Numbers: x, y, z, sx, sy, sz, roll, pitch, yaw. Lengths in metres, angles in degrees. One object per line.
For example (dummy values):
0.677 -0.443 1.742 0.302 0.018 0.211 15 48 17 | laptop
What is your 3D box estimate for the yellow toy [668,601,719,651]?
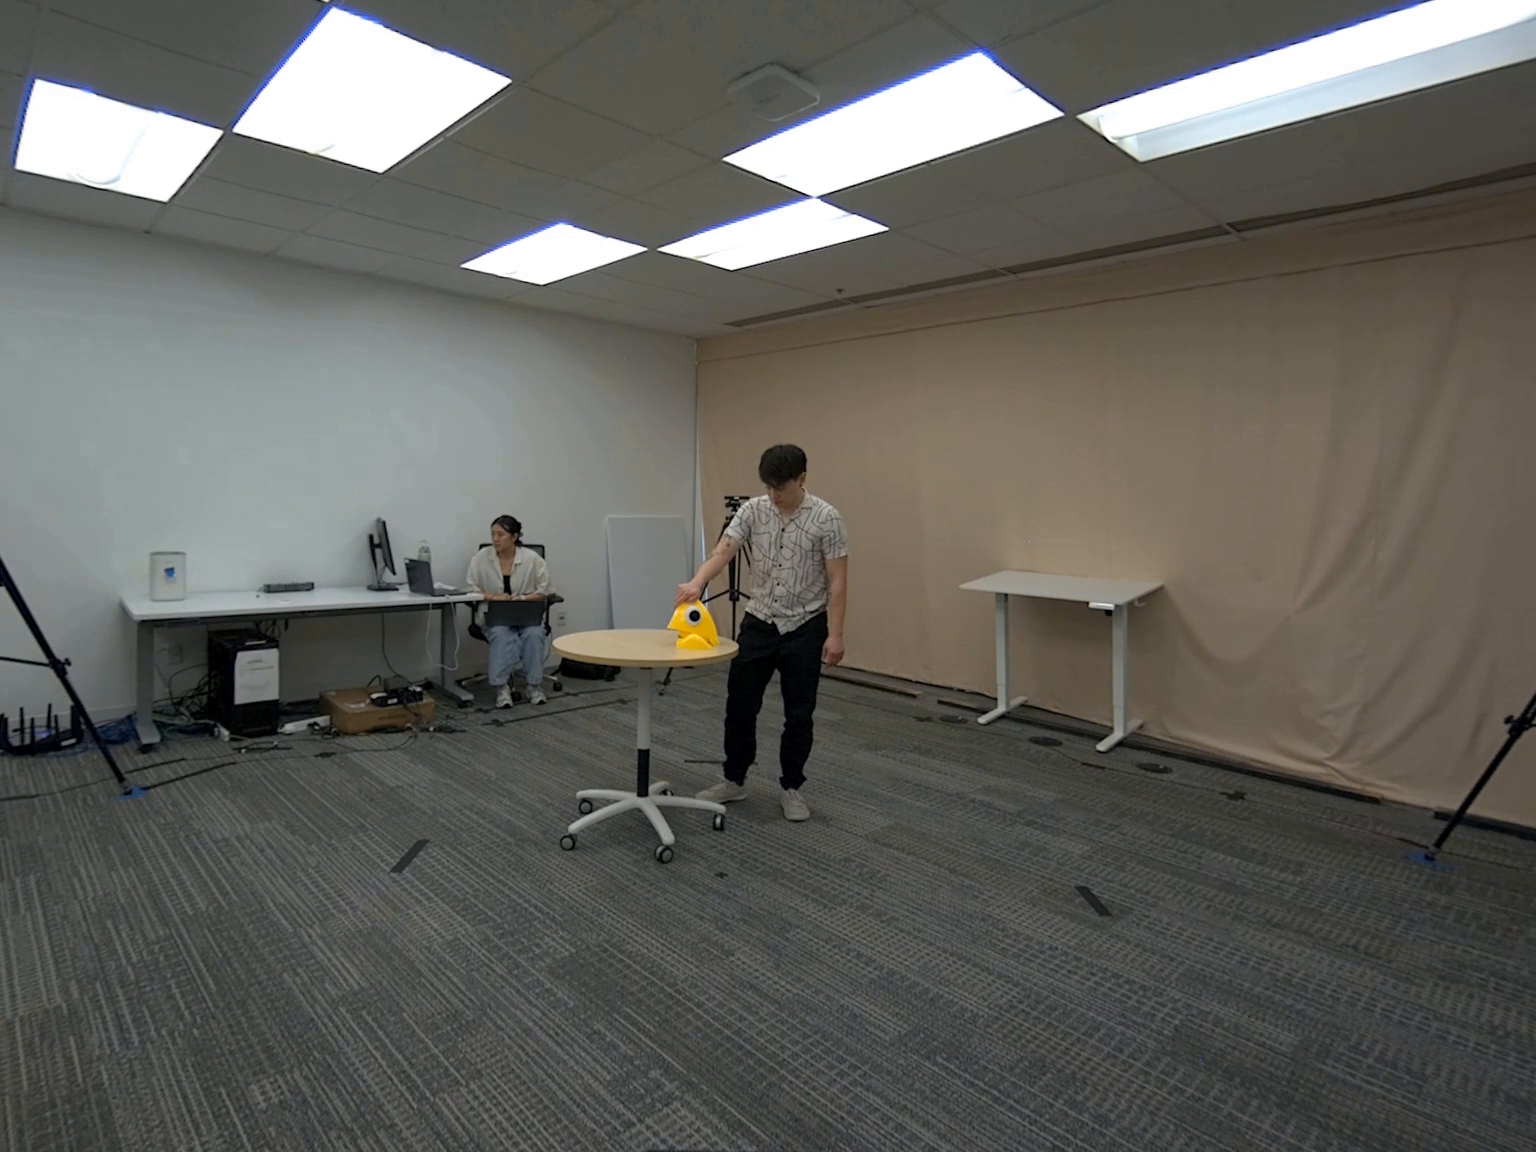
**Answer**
-0.306 0.173 3.478 0.195 0.230 0.203 4 4 11 | yellow toy
